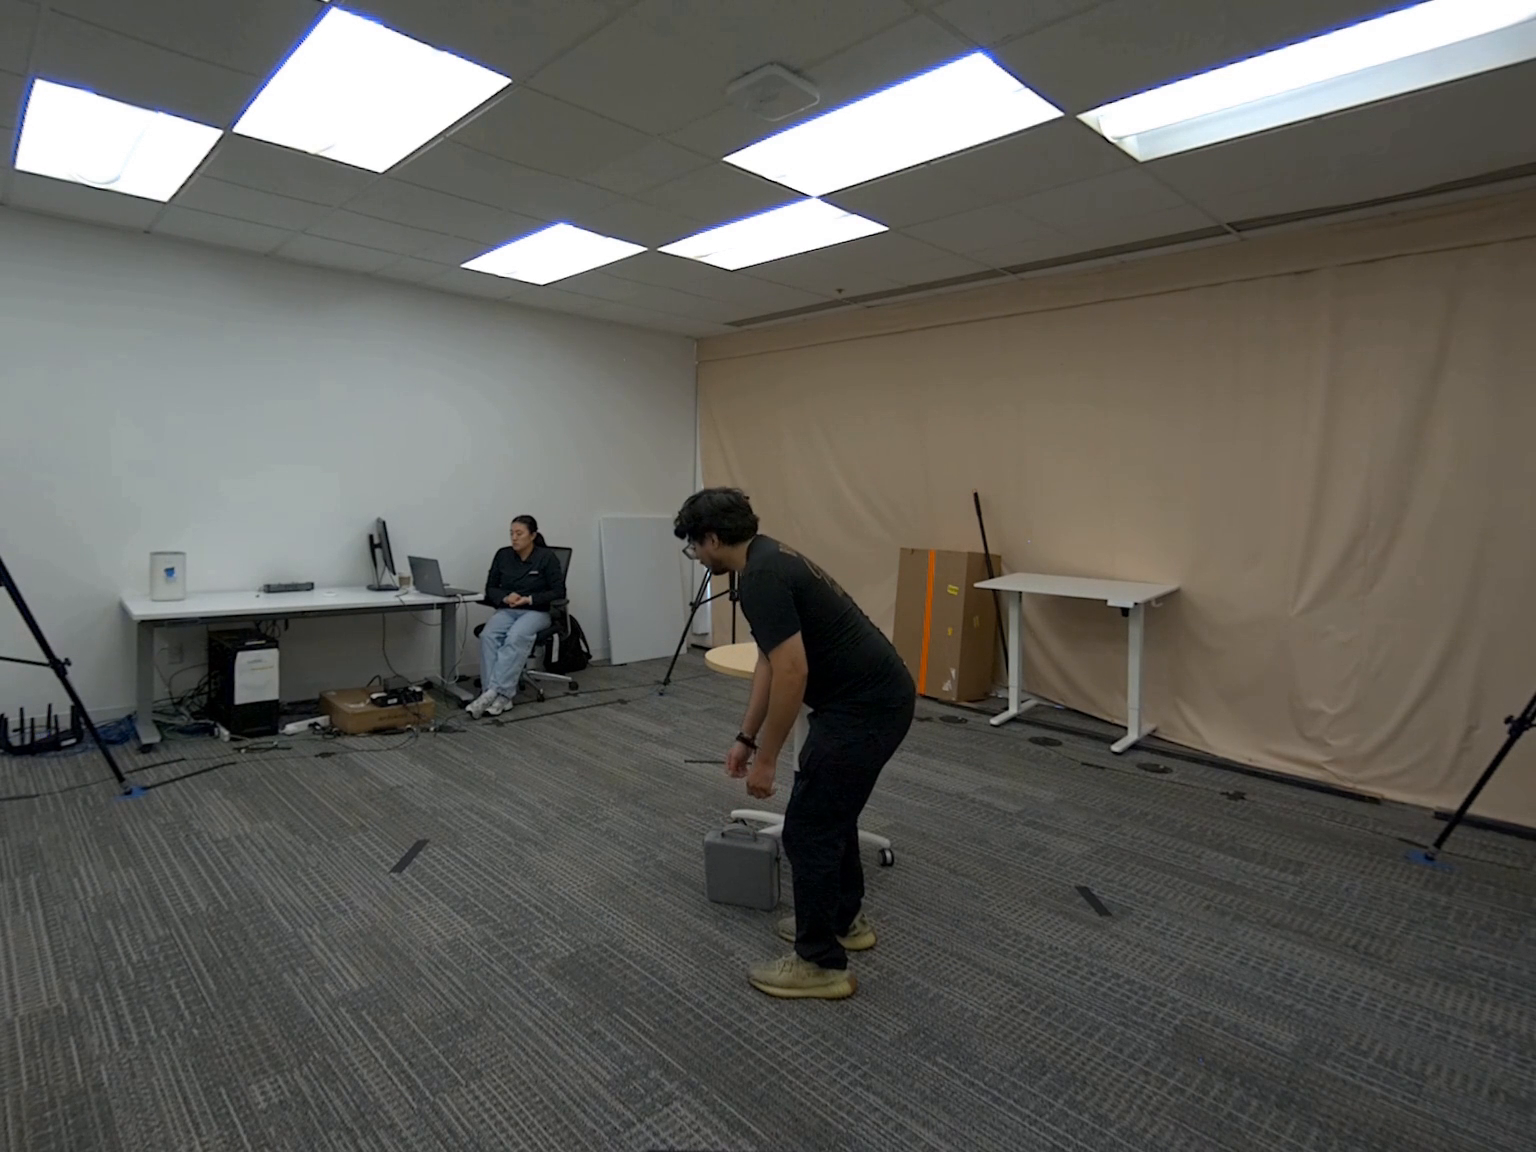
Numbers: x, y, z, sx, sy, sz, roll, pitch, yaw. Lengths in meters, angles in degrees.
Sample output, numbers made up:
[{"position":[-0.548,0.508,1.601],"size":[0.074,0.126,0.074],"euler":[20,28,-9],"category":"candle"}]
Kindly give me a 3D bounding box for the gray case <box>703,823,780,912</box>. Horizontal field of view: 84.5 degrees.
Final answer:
[{"position":[-0.091,0.991,2.875],"size":[0.260,0.258,0.104],"euler":[1,15,18],"category":"gray case"}]
